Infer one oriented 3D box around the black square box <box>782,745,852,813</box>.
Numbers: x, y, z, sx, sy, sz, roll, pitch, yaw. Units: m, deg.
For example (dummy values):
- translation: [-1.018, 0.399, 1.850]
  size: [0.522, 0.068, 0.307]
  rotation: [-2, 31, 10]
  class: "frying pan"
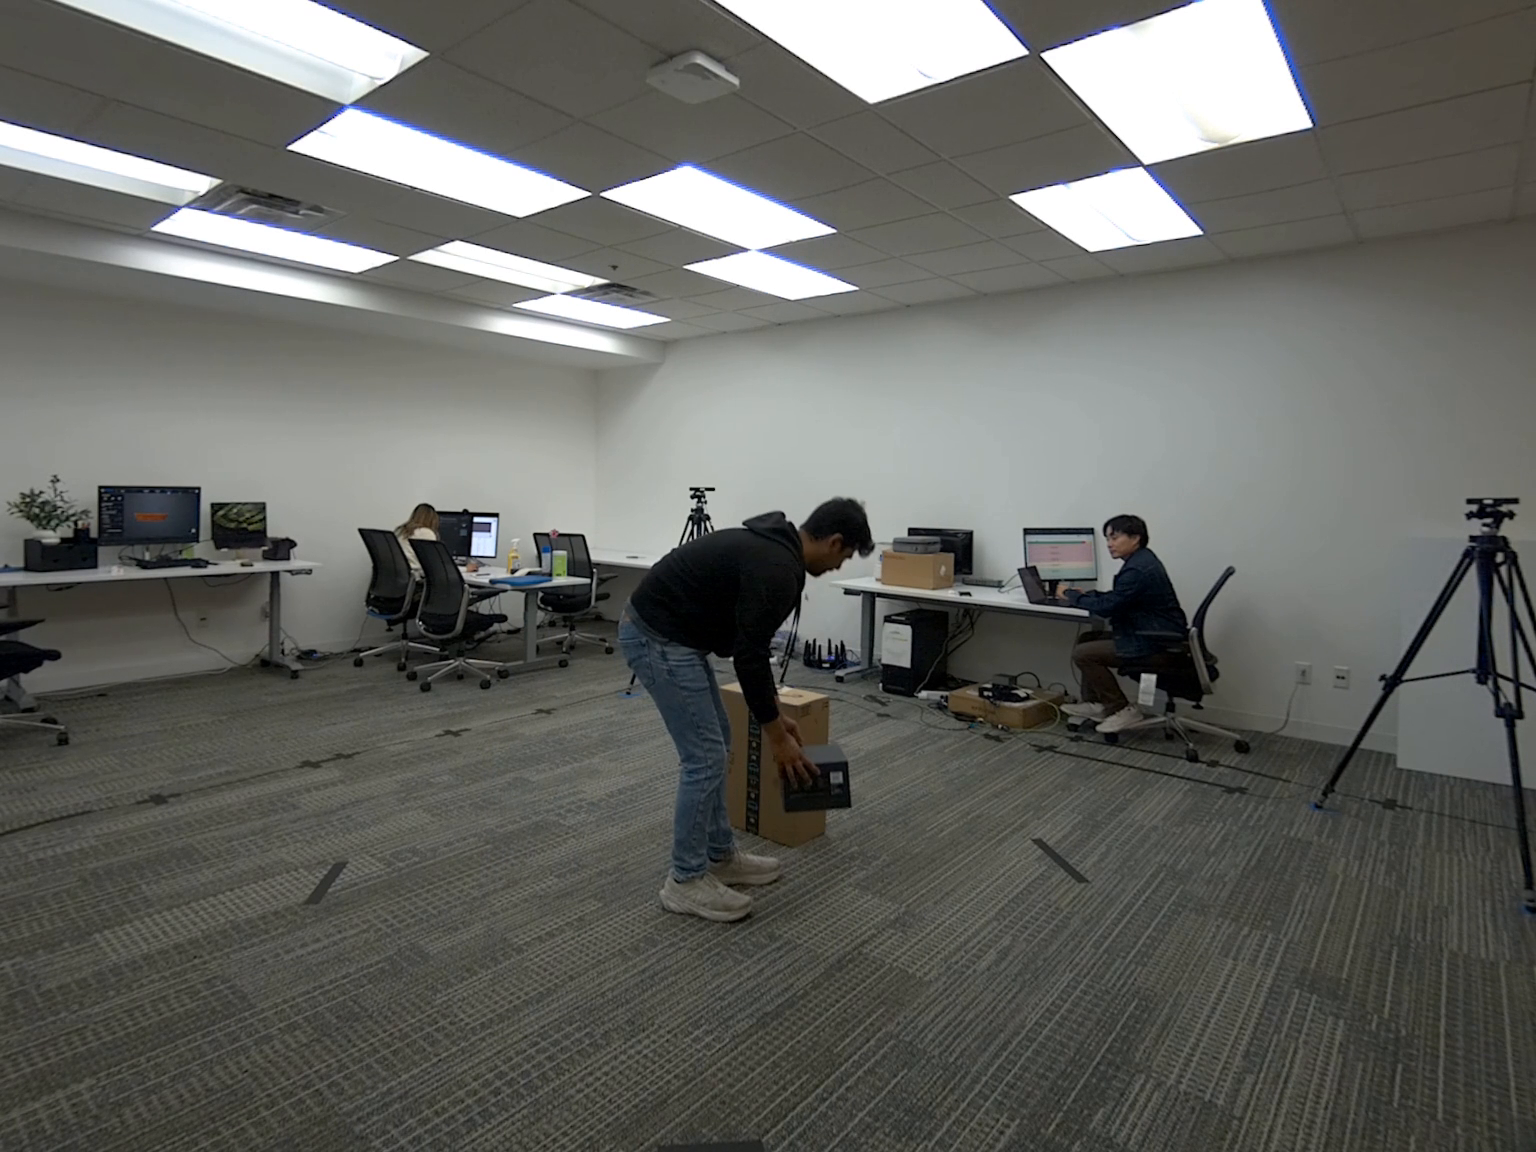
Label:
- translation: [0.146, 0.681, 2.857]
  size: [0.217, 0.156, 0.228]
  rotation: [-3, 2, 0]
  class: "black square box"
